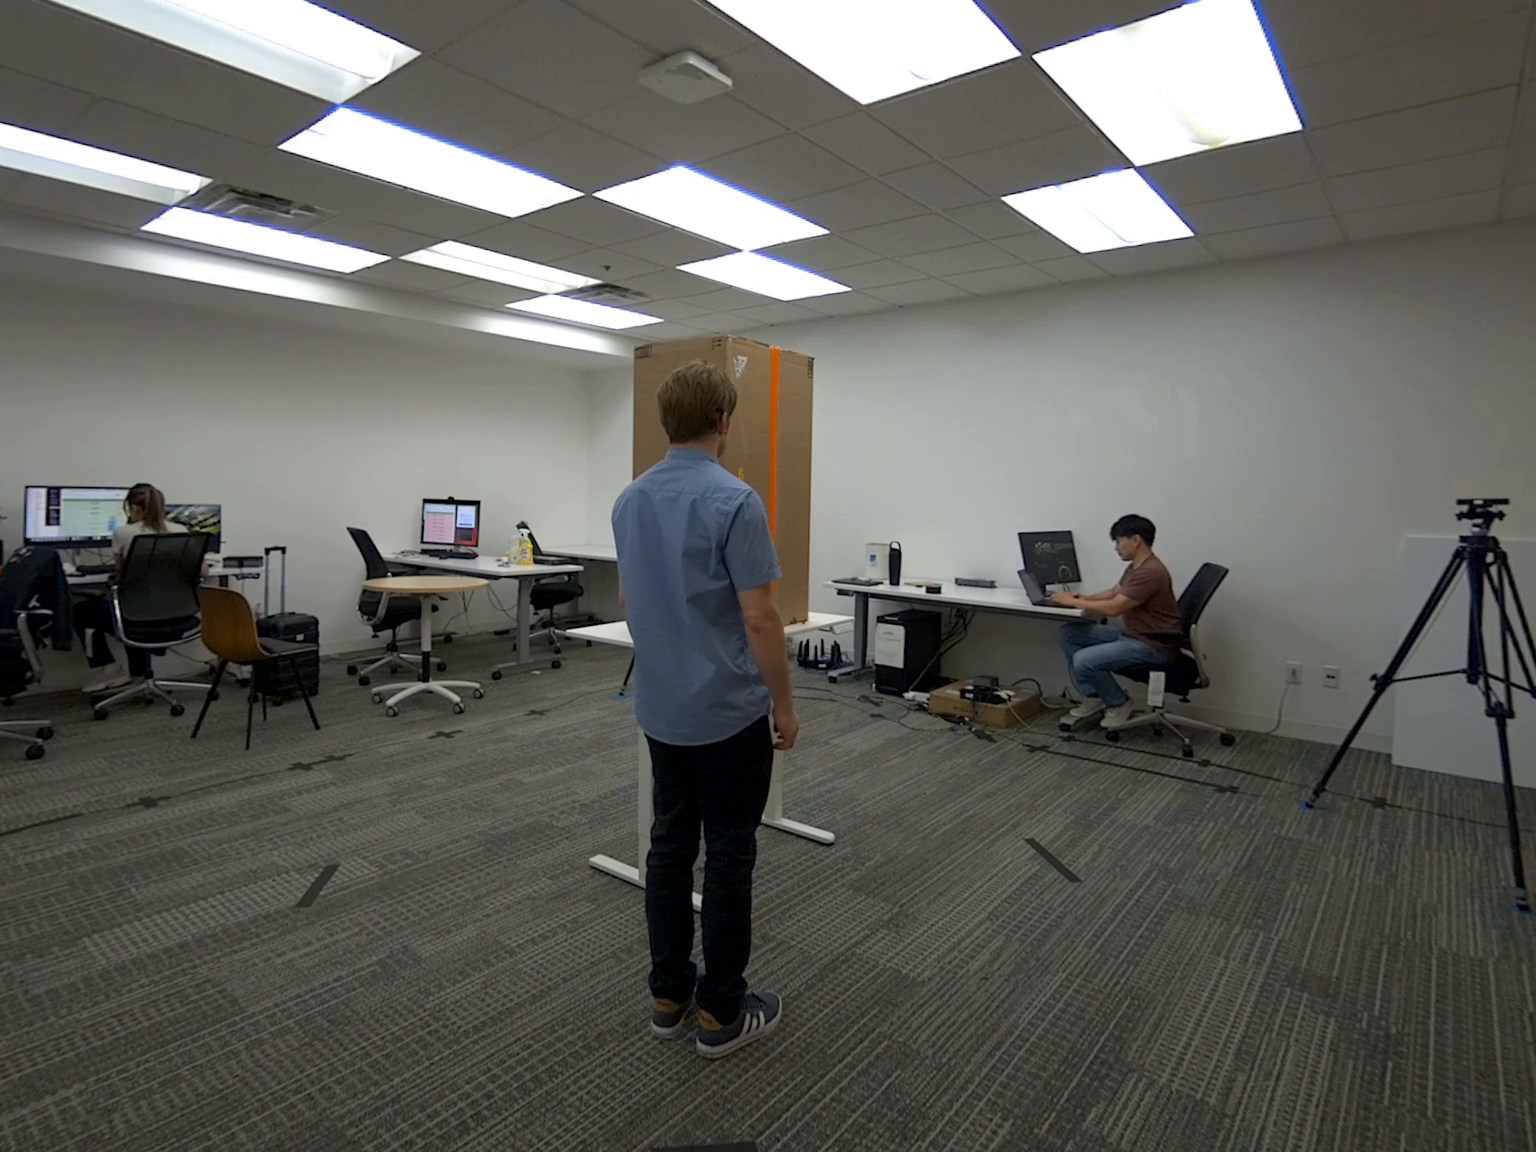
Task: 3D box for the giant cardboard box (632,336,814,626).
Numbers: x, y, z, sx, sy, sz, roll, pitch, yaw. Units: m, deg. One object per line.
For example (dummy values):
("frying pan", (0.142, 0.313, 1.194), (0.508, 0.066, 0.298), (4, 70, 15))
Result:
("giant cardboard box", (-0.170, -0.328, 3.189), (0.440, 1.023, 0.561), (3, 4, 36))
